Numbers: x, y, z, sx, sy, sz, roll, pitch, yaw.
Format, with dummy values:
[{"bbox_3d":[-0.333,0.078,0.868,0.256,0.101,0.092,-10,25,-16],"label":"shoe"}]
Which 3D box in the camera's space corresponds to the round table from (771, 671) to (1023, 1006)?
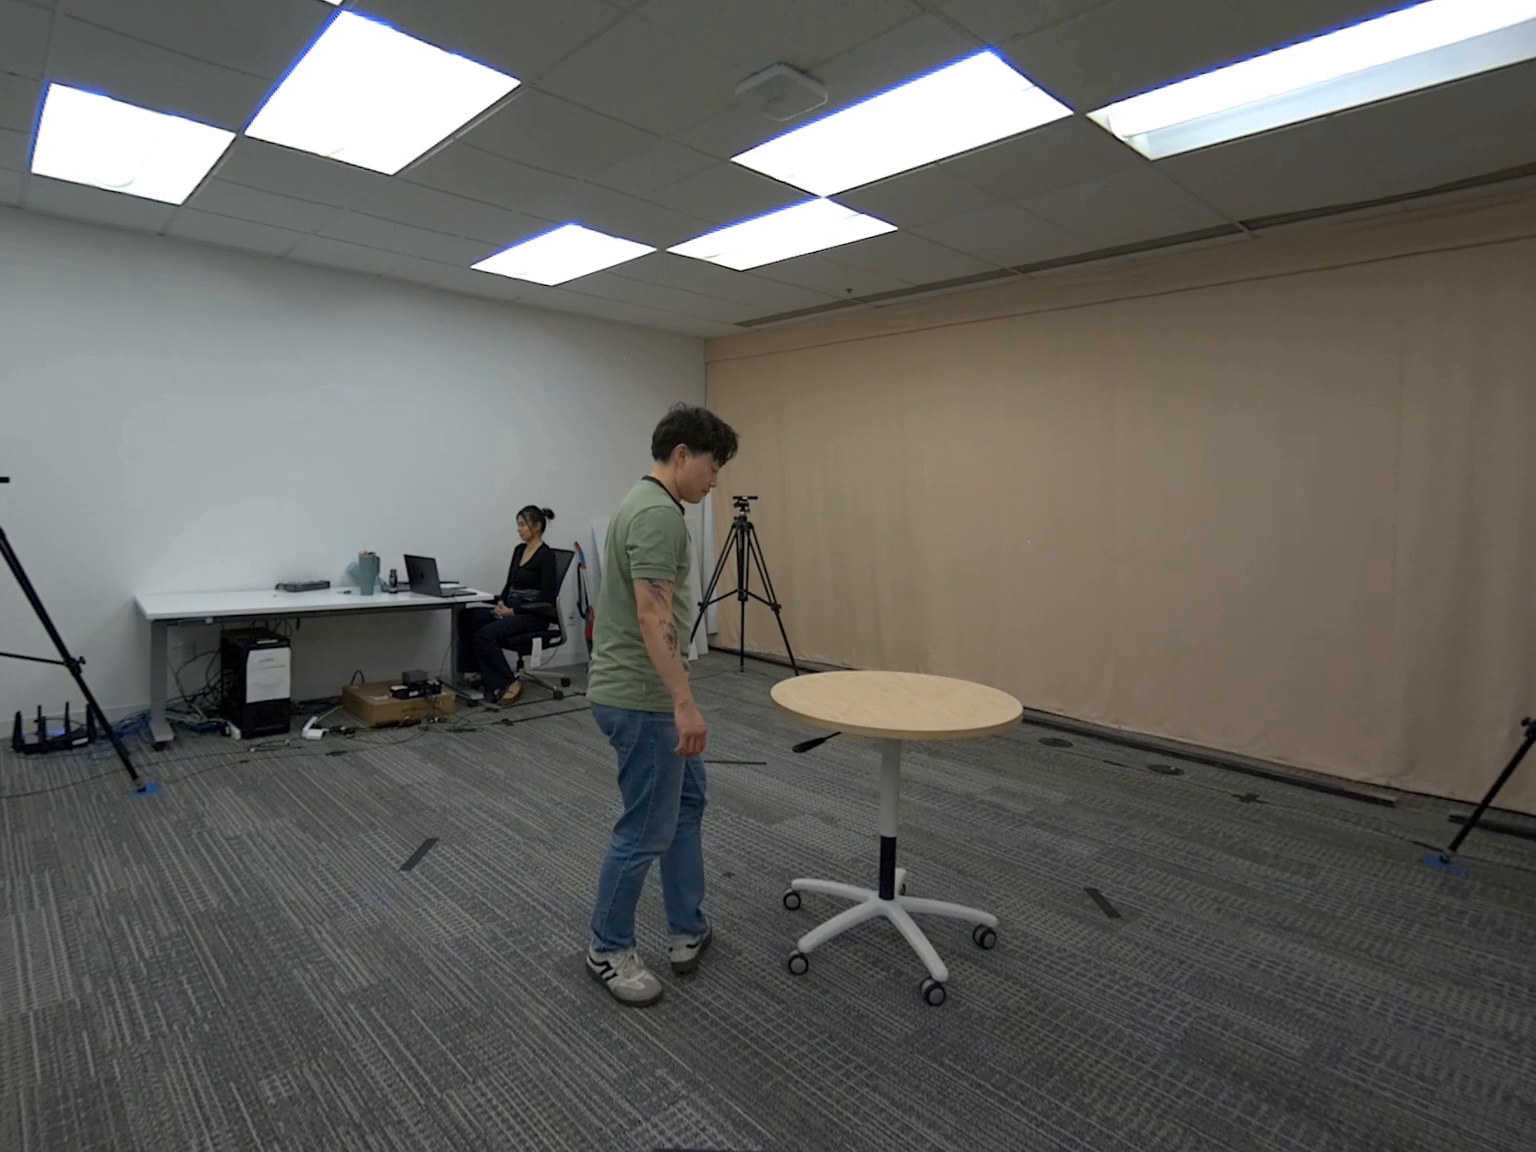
[{"bbox_3d":[0.372,0.770,2.649,0.763,0.792,0.767,1,4,-1],"label":"round table"}]
